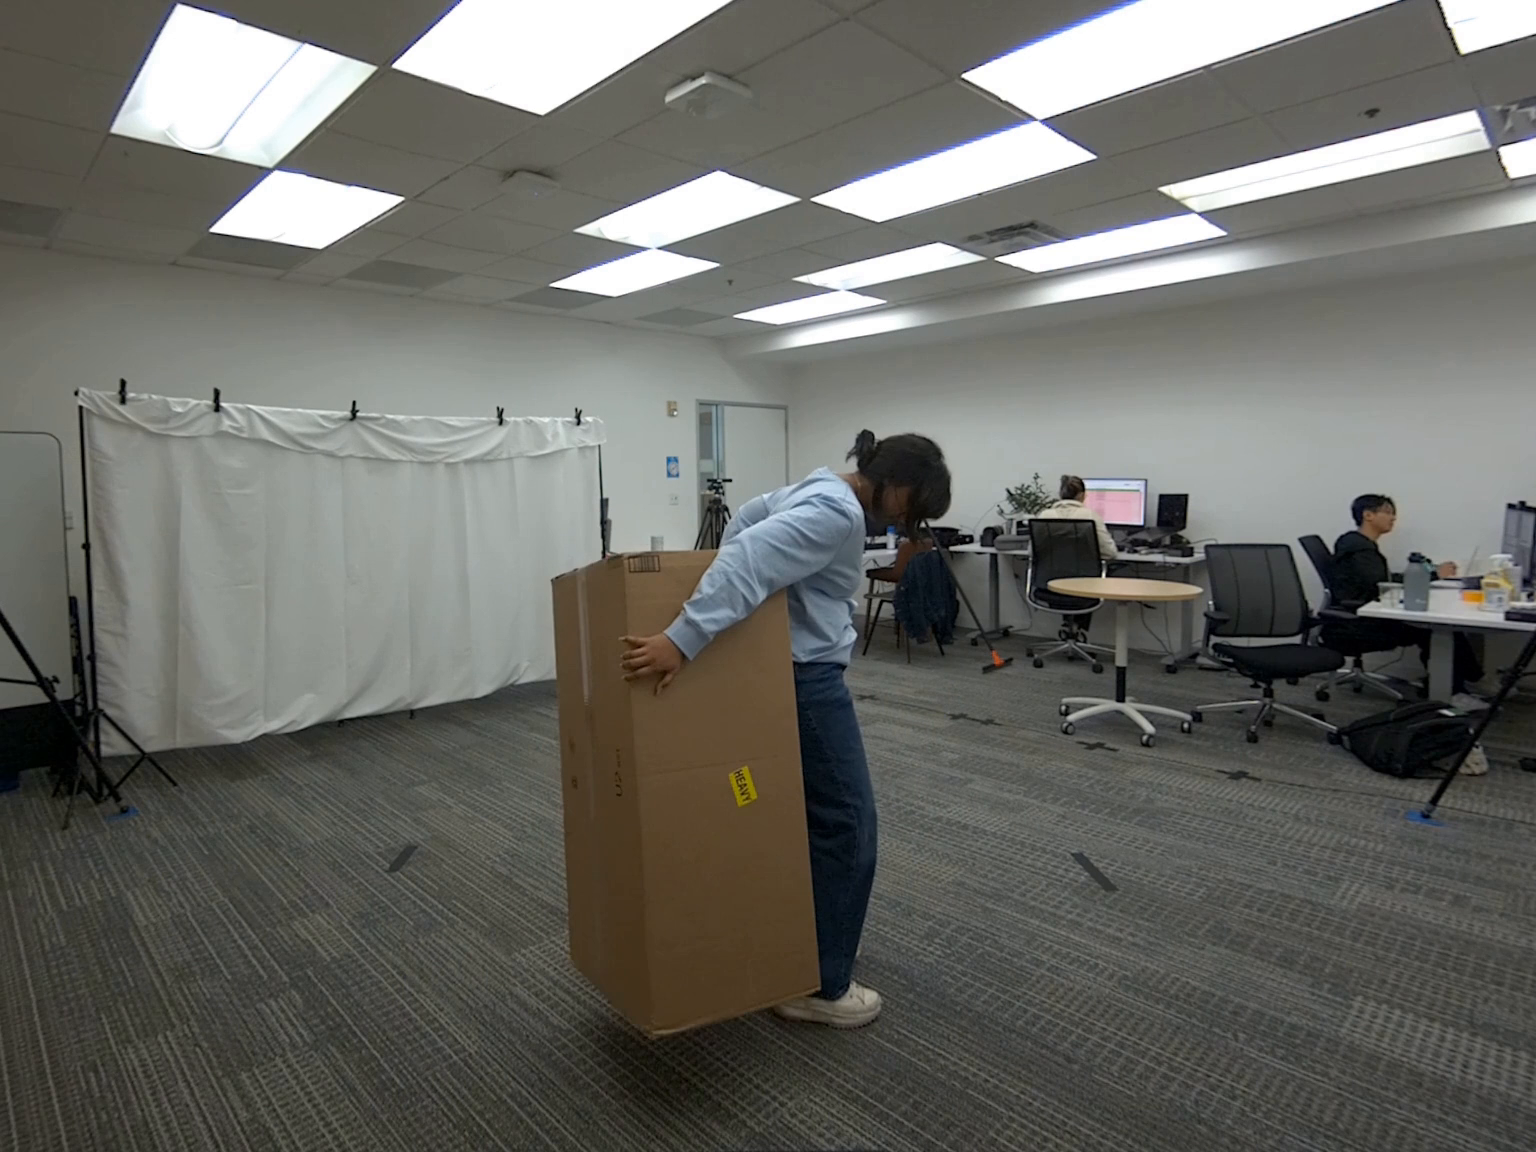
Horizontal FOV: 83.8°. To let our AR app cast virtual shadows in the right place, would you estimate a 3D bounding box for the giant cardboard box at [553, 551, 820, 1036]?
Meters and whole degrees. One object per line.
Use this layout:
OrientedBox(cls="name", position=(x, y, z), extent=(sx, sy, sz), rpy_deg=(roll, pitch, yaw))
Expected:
OrientedBox(cls="giant cardboard box", position=(-0.241, 0.484, 2.178), extent=(0.416, 1.034, 0.587), rpy_deg=(-1, -8, -29))
